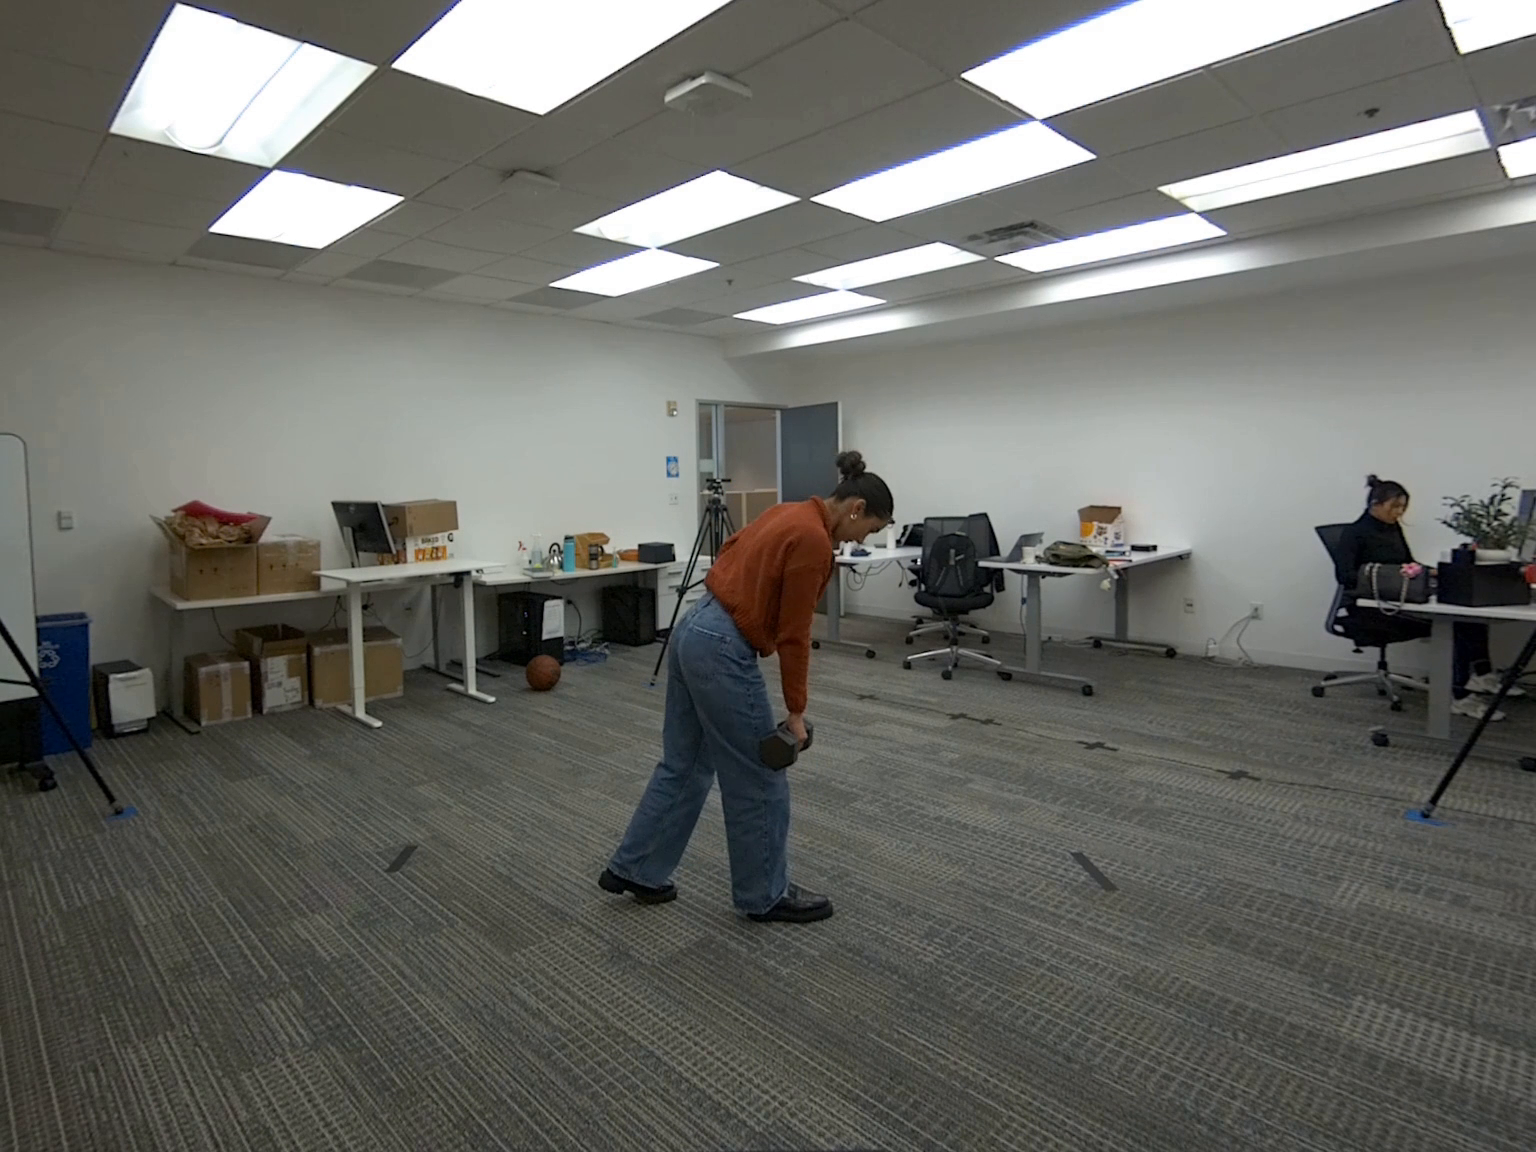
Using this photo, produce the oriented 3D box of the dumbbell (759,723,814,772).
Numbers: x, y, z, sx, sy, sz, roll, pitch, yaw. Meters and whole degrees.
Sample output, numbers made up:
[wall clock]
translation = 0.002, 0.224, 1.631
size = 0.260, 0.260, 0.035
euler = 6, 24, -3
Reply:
[dumbbell]
translation = 0.061, 0.508, 2.613
size = 0.111, 0.123, 0.288
euler = 4, 3, 18
